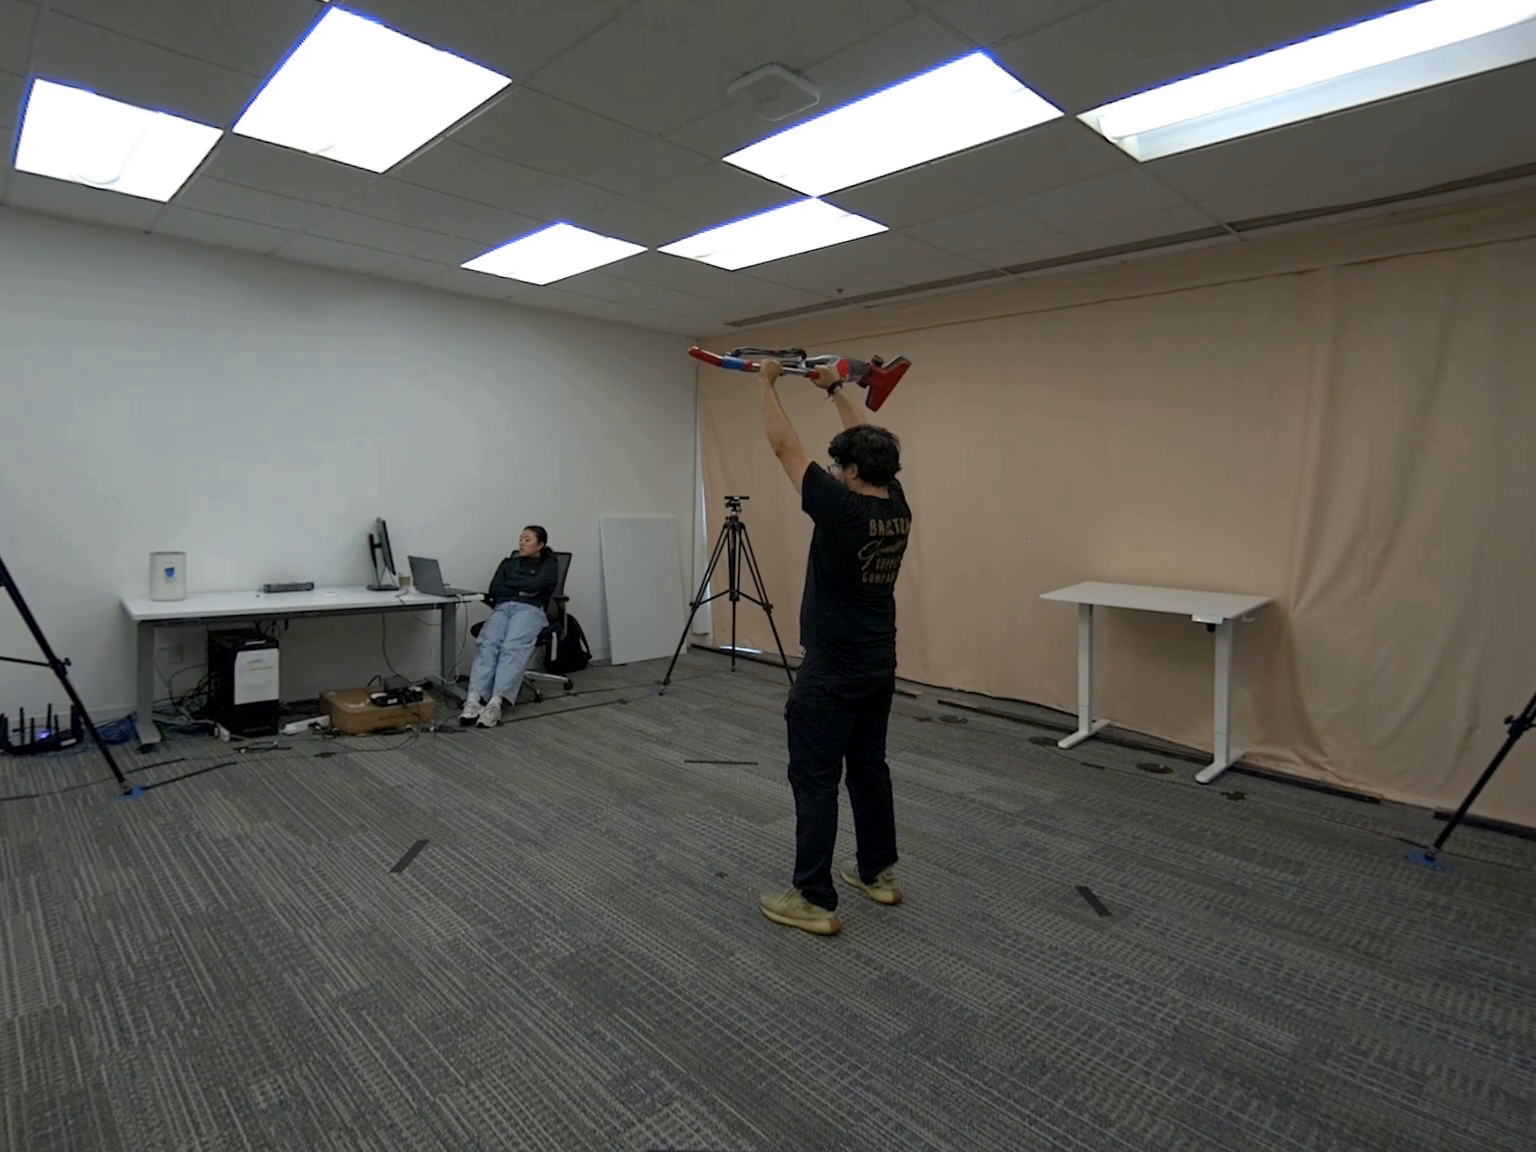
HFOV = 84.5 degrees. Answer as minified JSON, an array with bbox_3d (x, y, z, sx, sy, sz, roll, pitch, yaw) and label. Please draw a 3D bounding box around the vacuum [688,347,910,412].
[{"bbox_3d":[0.105,-0.768,3.048,1.026,0.147,0.252,-5,-33,-47],"label":"vacuum"}]
